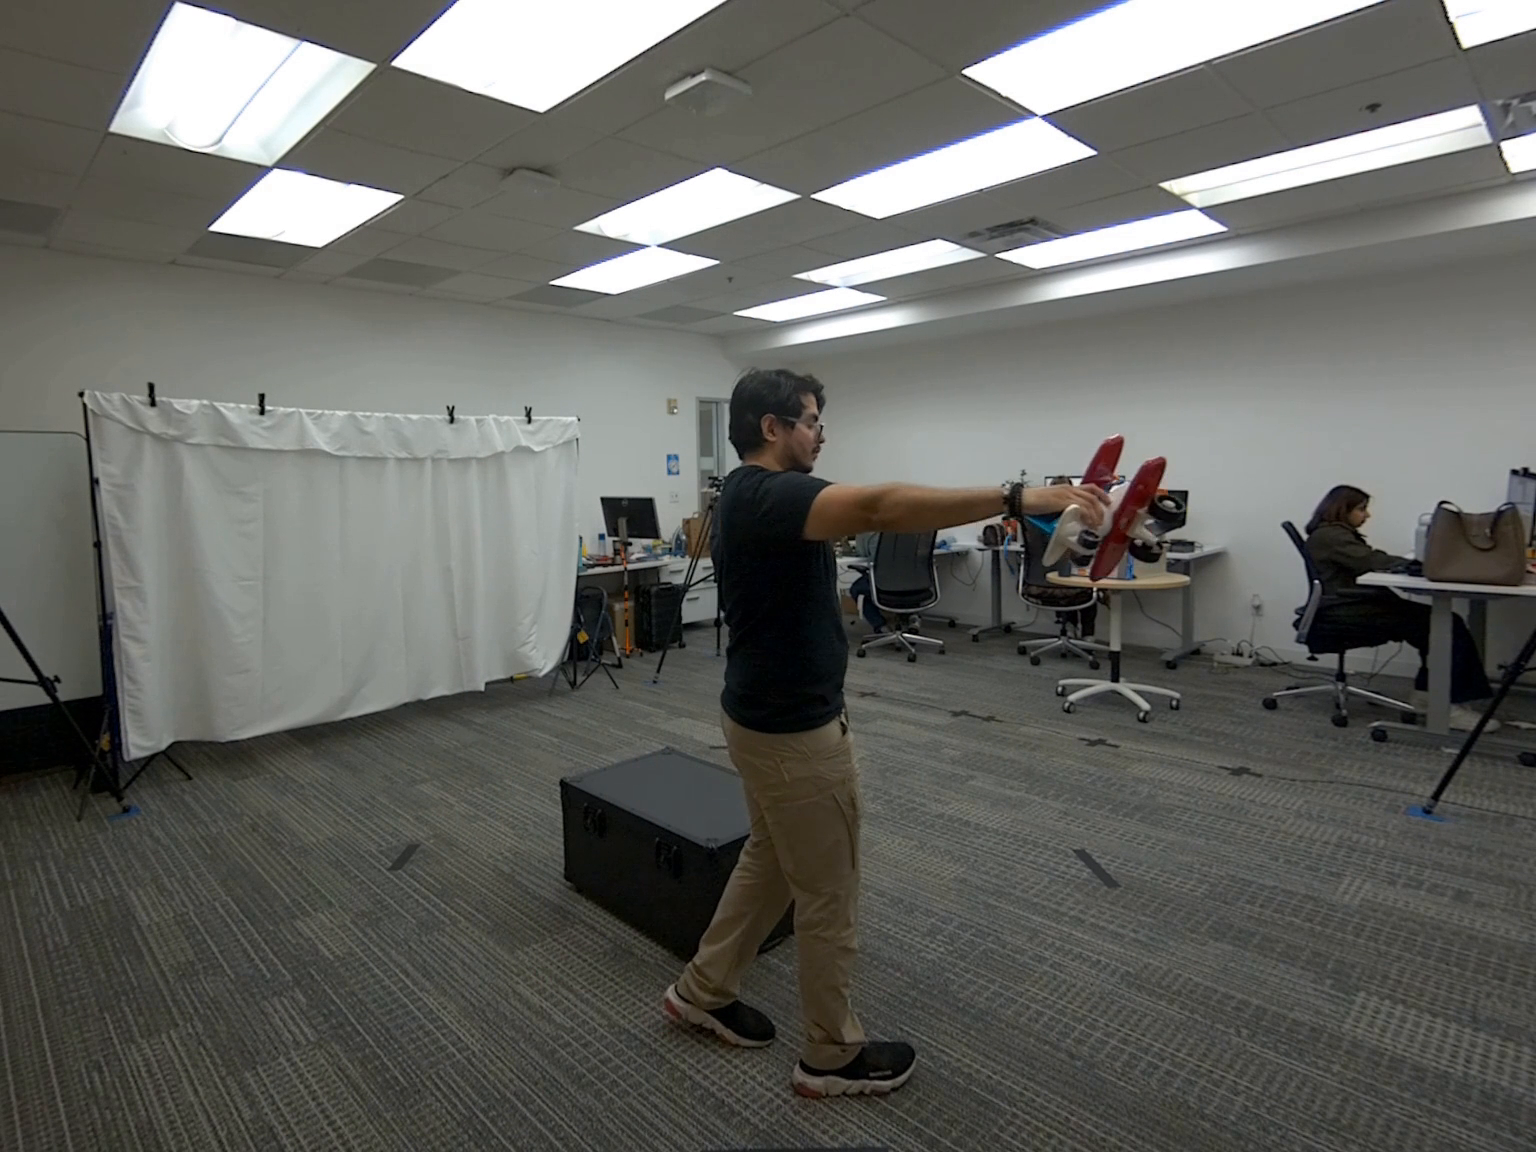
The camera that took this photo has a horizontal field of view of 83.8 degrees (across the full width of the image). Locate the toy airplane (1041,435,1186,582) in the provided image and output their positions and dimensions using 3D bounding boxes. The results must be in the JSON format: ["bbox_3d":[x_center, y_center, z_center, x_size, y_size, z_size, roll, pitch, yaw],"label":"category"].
[{"bbox_3d":[0.577,-0.113,1.452,0.250,0.250,0.162,19,24,-41],"label":"toy airplane"}]
